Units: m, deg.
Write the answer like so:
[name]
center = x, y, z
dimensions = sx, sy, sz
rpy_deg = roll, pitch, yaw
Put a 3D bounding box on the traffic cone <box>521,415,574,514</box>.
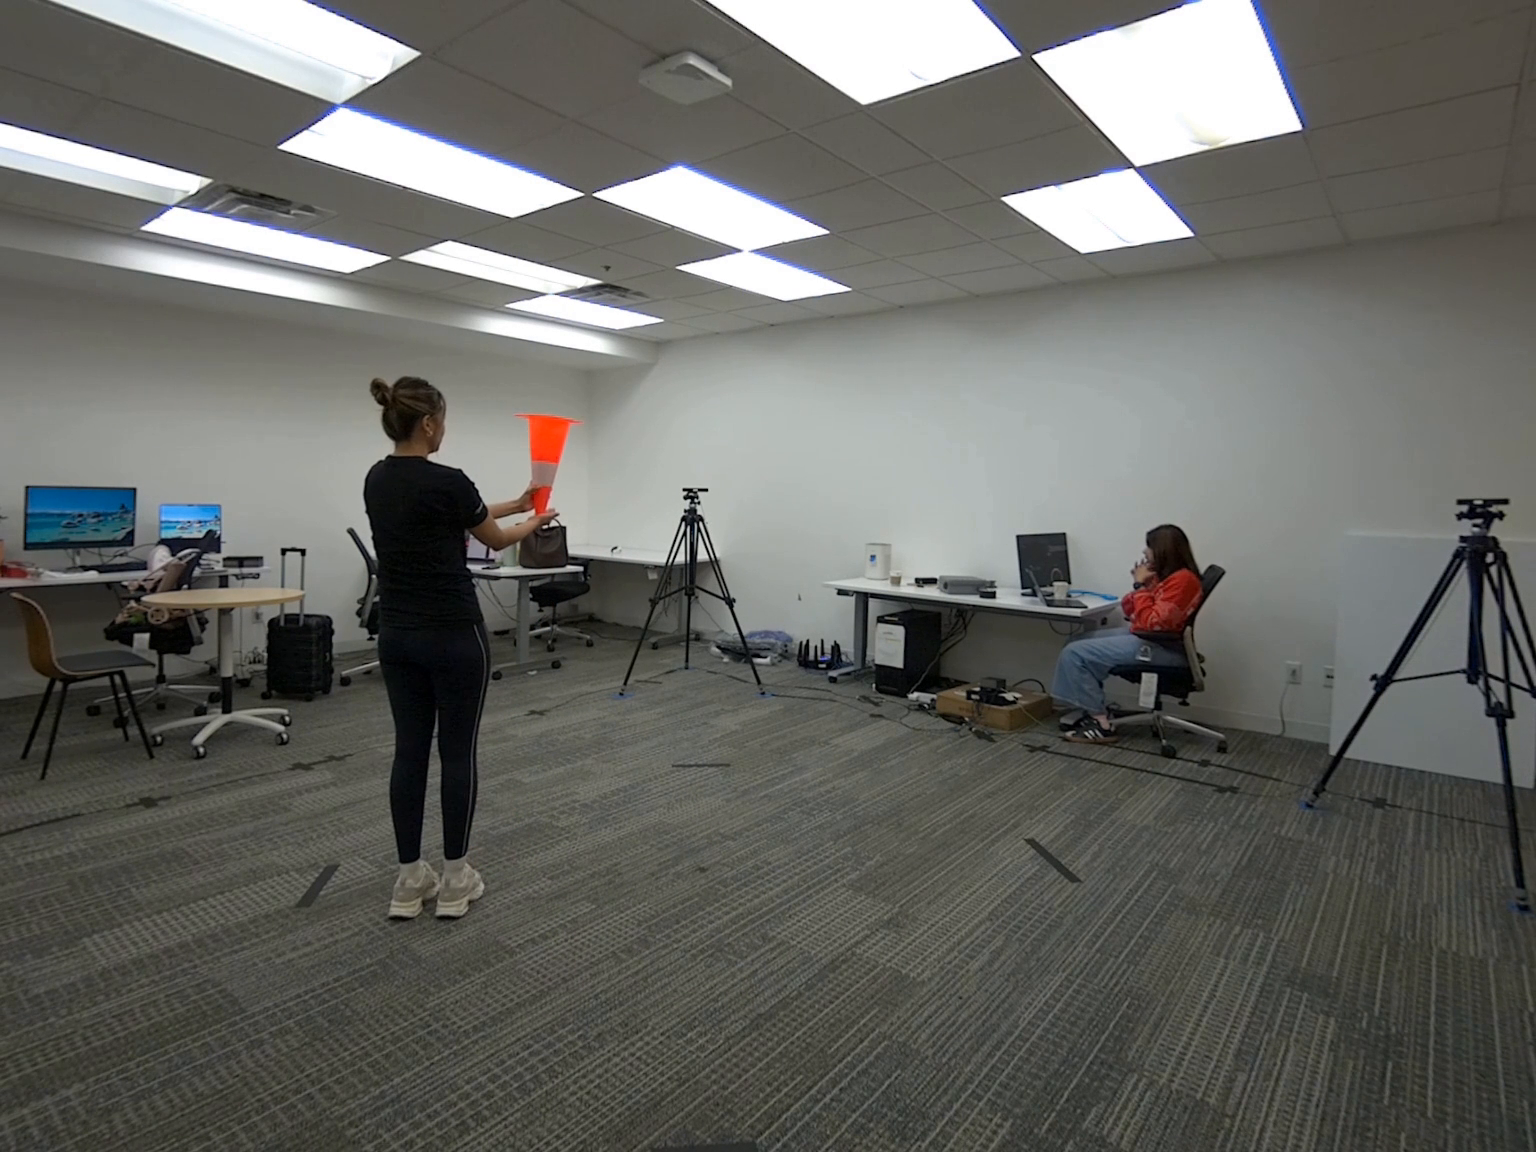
[traffic cone]
center = -0.867, -0.411, 3.223
dimensions = 0.198, 0.383, 0.210
rpy_deg = 4, 1, -43
